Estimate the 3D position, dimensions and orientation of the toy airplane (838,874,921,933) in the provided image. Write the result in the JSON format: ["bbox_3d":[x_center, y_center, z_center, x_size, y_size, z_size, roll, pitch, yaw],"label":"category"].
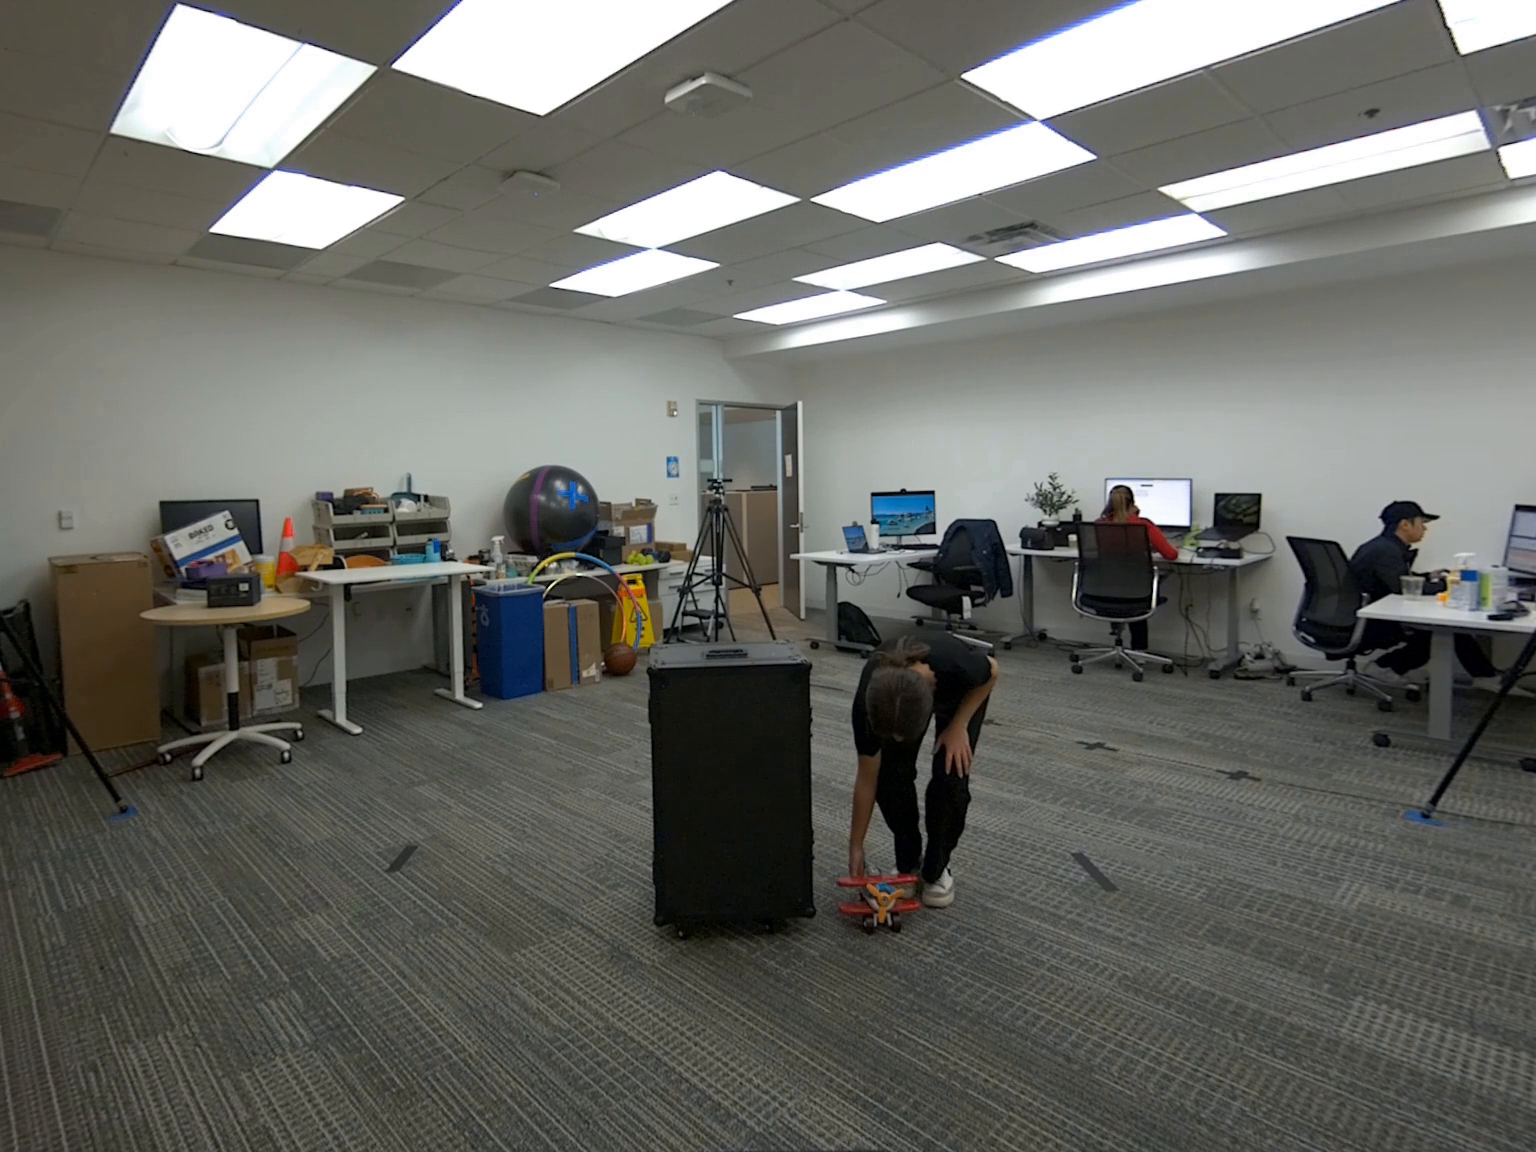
[{"bbox_3d":[0.319,1.006,2.706,0.245,0.155,0.267,-5,8,-32],"label":"toy airplane"}]
